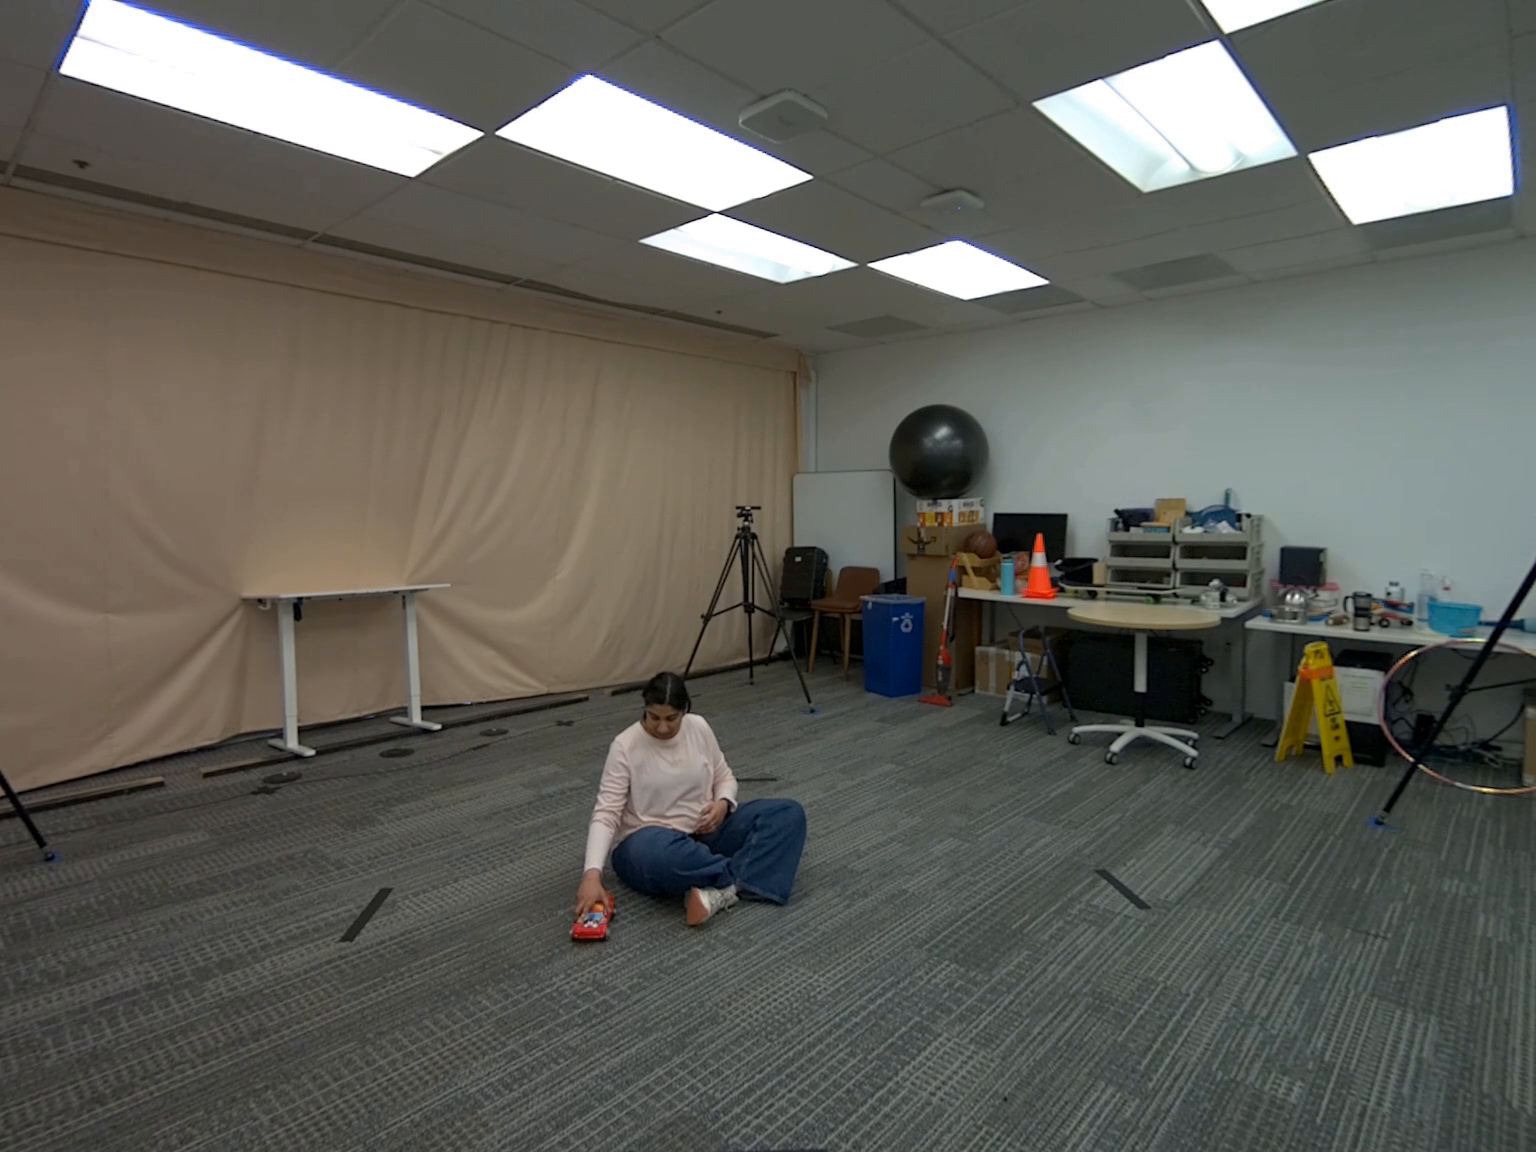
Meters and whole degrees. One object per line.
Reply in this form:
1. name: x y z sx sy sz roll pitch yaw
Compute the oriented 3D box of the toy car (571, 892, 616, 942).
1. toy car: -0.565 1.124 2.804 0.130 0.082 0.257 -4 13 -2
